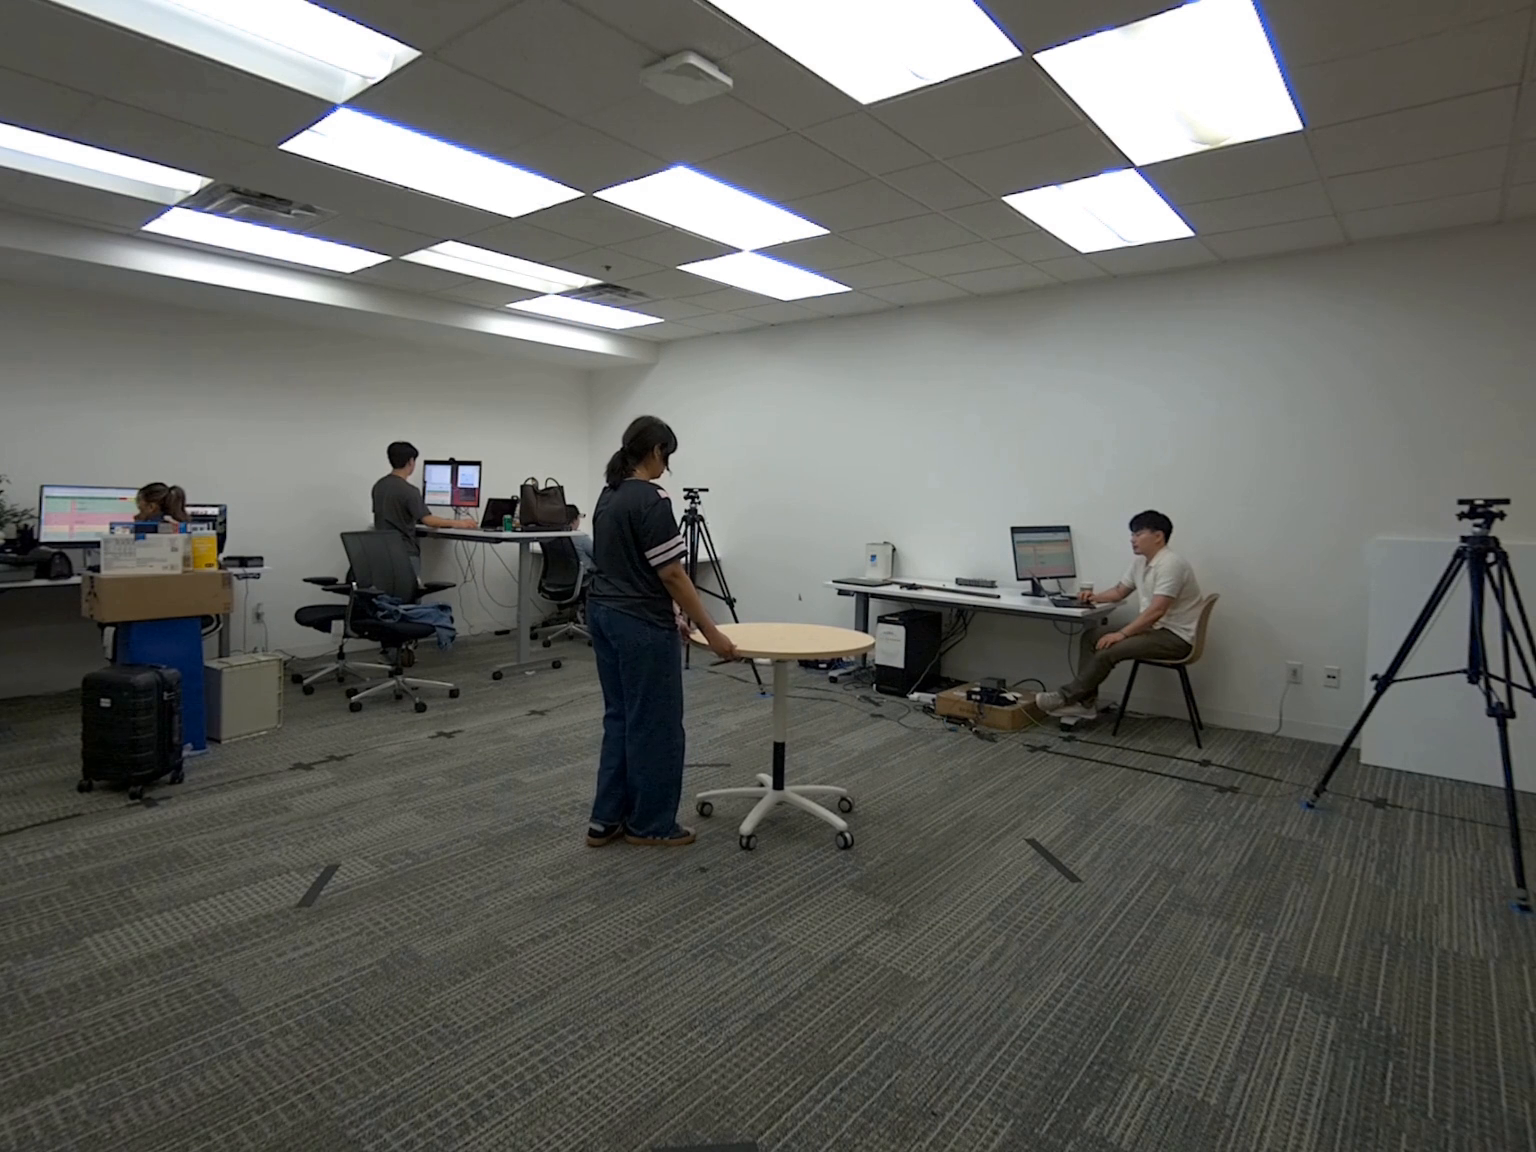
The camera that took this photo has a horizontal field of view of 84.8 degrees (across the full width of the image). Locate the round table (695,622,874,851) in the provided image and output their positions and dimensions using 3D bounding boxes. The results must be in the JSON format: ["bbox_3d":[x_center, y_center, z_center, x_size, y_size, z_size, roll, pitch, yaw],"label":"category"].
[{"bbox_3d":[0.044,0.645,3.548,0.763,0.792,0.767,1,4,-2],"label":"round table"}]
